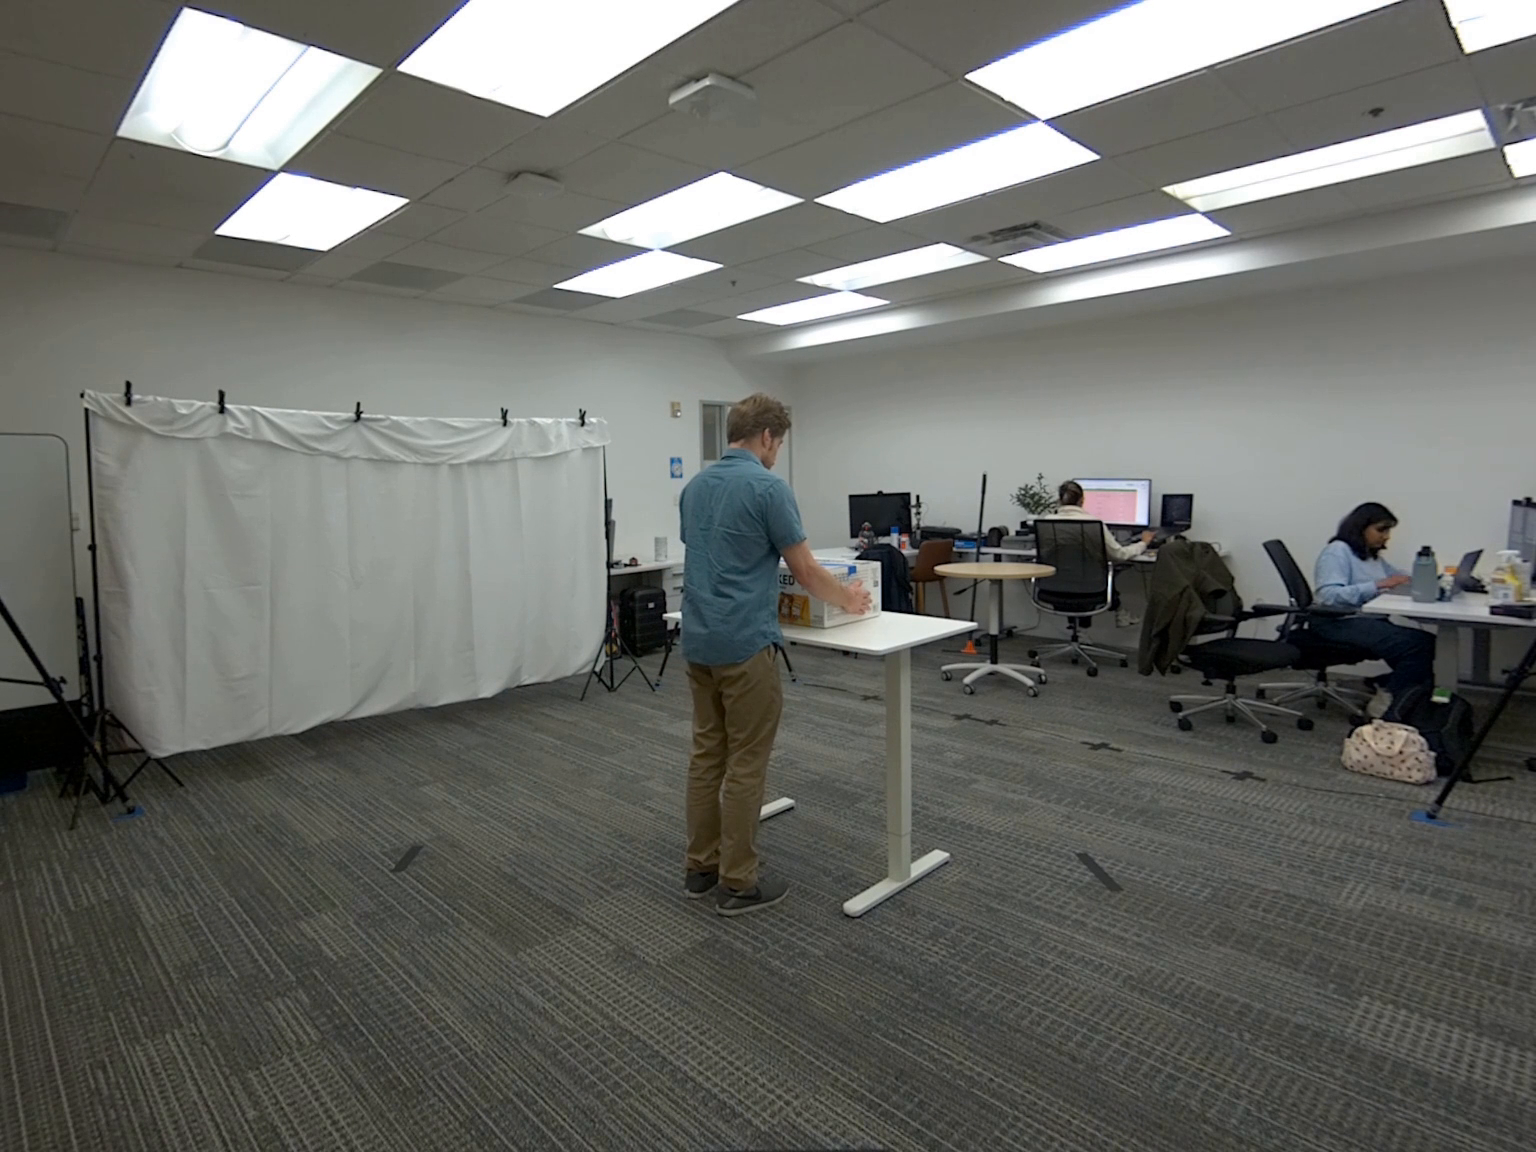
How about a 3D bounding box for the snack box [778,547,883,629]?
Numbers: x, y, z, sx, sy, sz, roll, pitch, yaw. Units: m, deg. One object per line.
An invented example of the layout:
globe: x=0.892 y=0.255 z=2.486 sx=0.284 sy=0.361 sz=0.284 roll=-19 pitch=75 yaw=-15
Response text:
snack box: x=0.159 y=0.050 z=3.177 sx=0.418 sy=0.204 sz=0.332 roll=5 pitch=9 yaw=43
